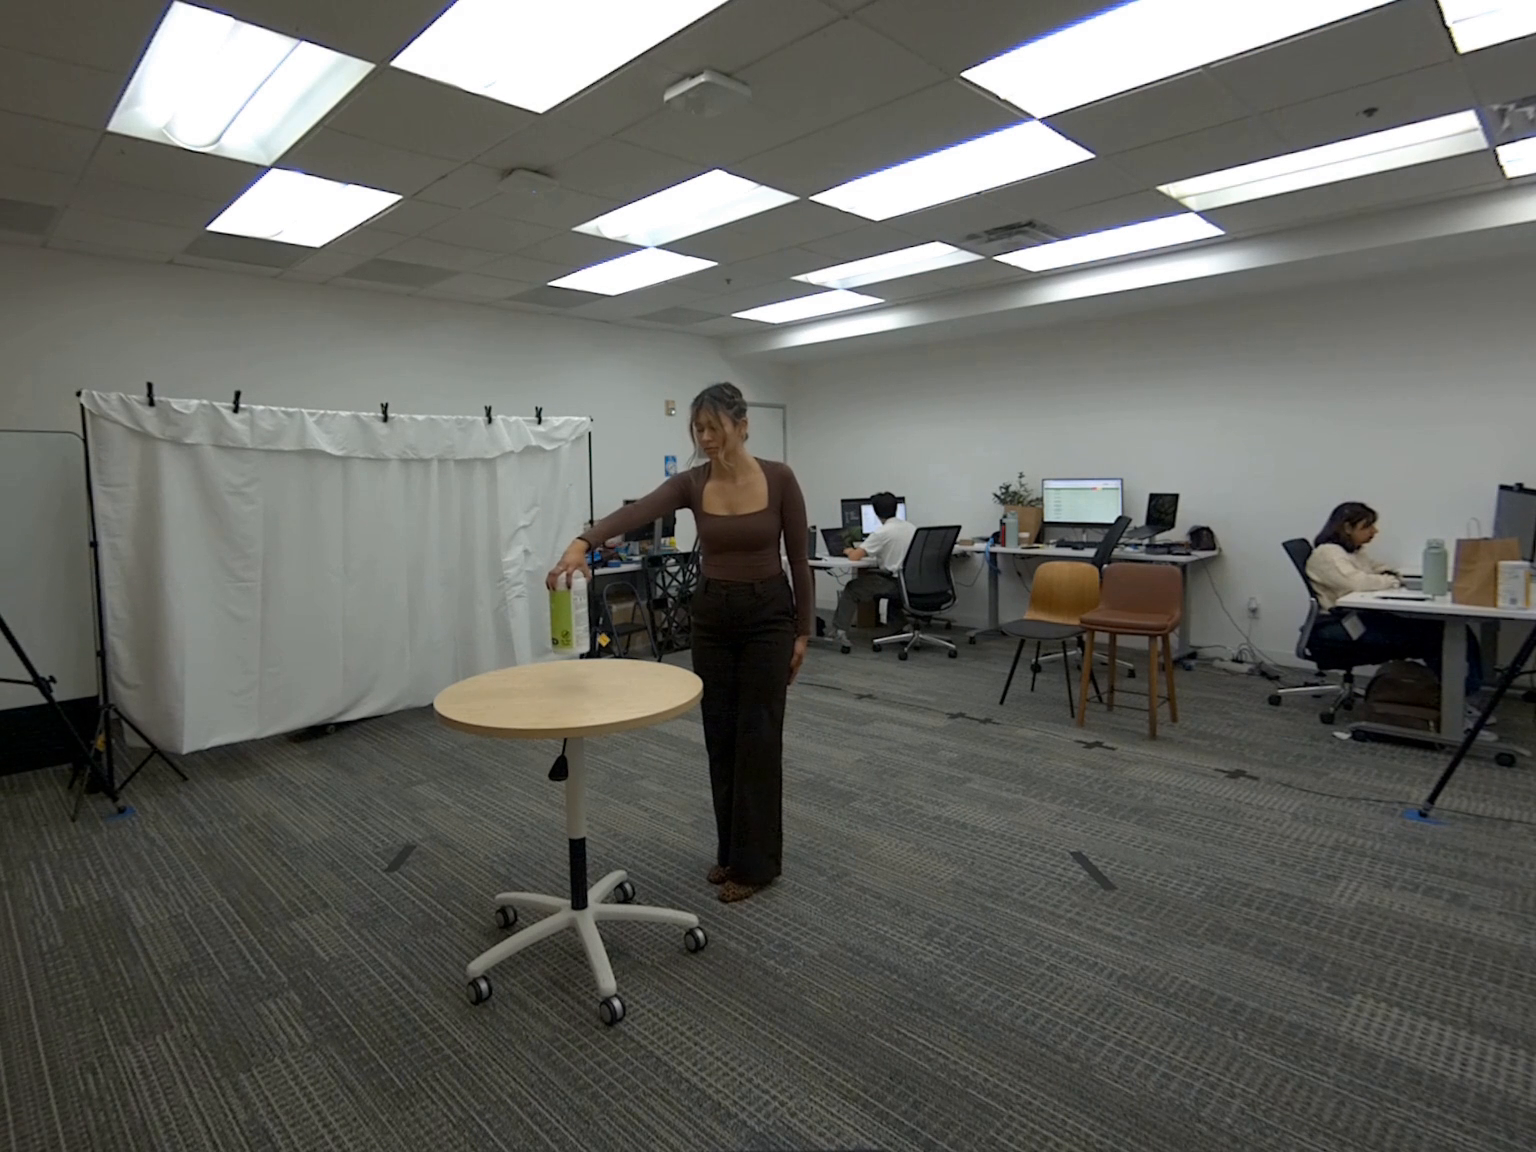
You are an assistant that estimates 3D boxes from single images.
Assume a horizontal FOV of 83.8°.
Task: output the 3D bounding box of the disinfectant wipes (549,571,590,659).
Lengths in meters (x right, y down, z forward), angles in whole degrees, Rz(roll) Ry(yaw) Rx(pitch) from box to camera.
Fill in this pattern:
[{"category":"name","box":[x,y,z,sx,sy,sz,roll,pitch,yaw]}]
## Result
[{"category":"disinfectant wipes","box":[-0.572,0.114,2.461,0.118,0.217,0.118,-2,4,-1]}]
